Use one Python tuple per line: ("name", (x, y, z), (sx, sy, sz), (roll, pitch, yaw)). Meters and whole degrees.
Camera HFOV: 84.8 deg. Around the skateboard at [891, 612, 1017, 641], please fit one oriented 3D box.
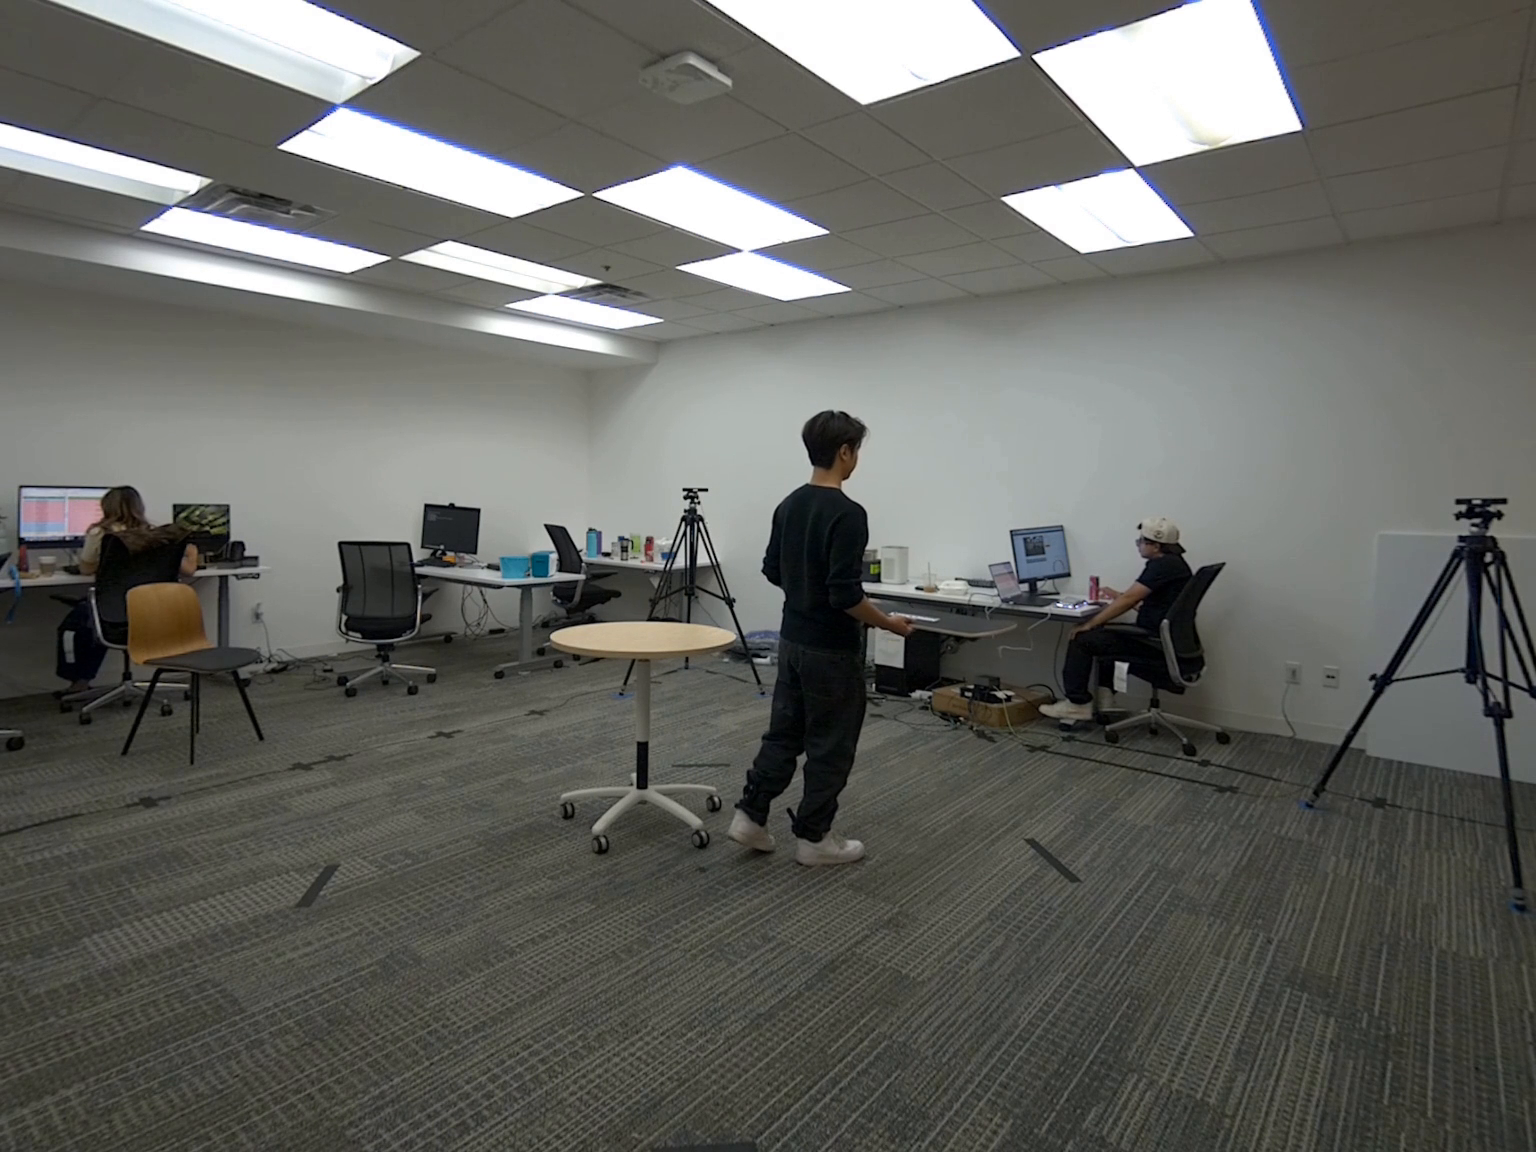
("skateboard", (0.532, 0.188, 3.172), (0.813, 0.109, 0.189), (7, 19, 40))
